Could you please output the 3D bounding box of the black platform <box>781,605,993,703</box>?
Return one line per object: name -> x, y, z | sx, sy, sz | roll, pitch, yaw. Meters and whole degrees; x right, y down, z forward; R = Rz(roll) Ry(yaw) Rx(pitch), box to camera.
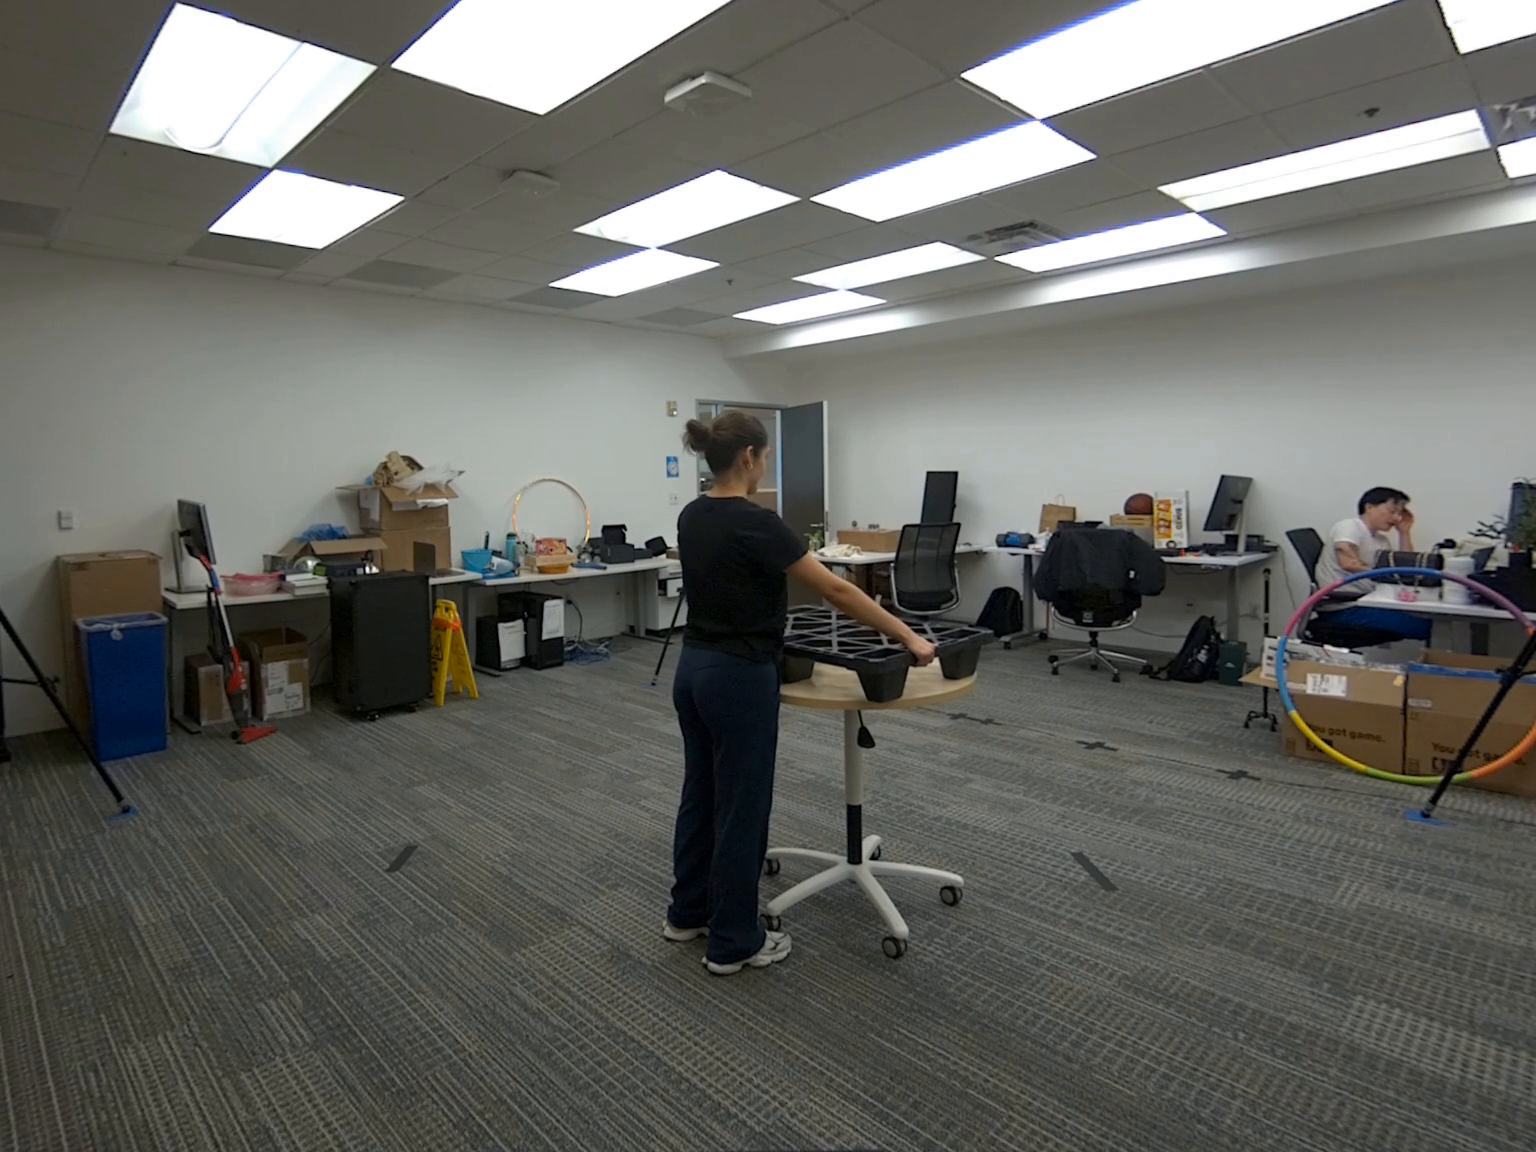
black platform -> 0.217, 0.234, 2.754 | 0.589, 0.142, 0.831 | -8, 9, -43
